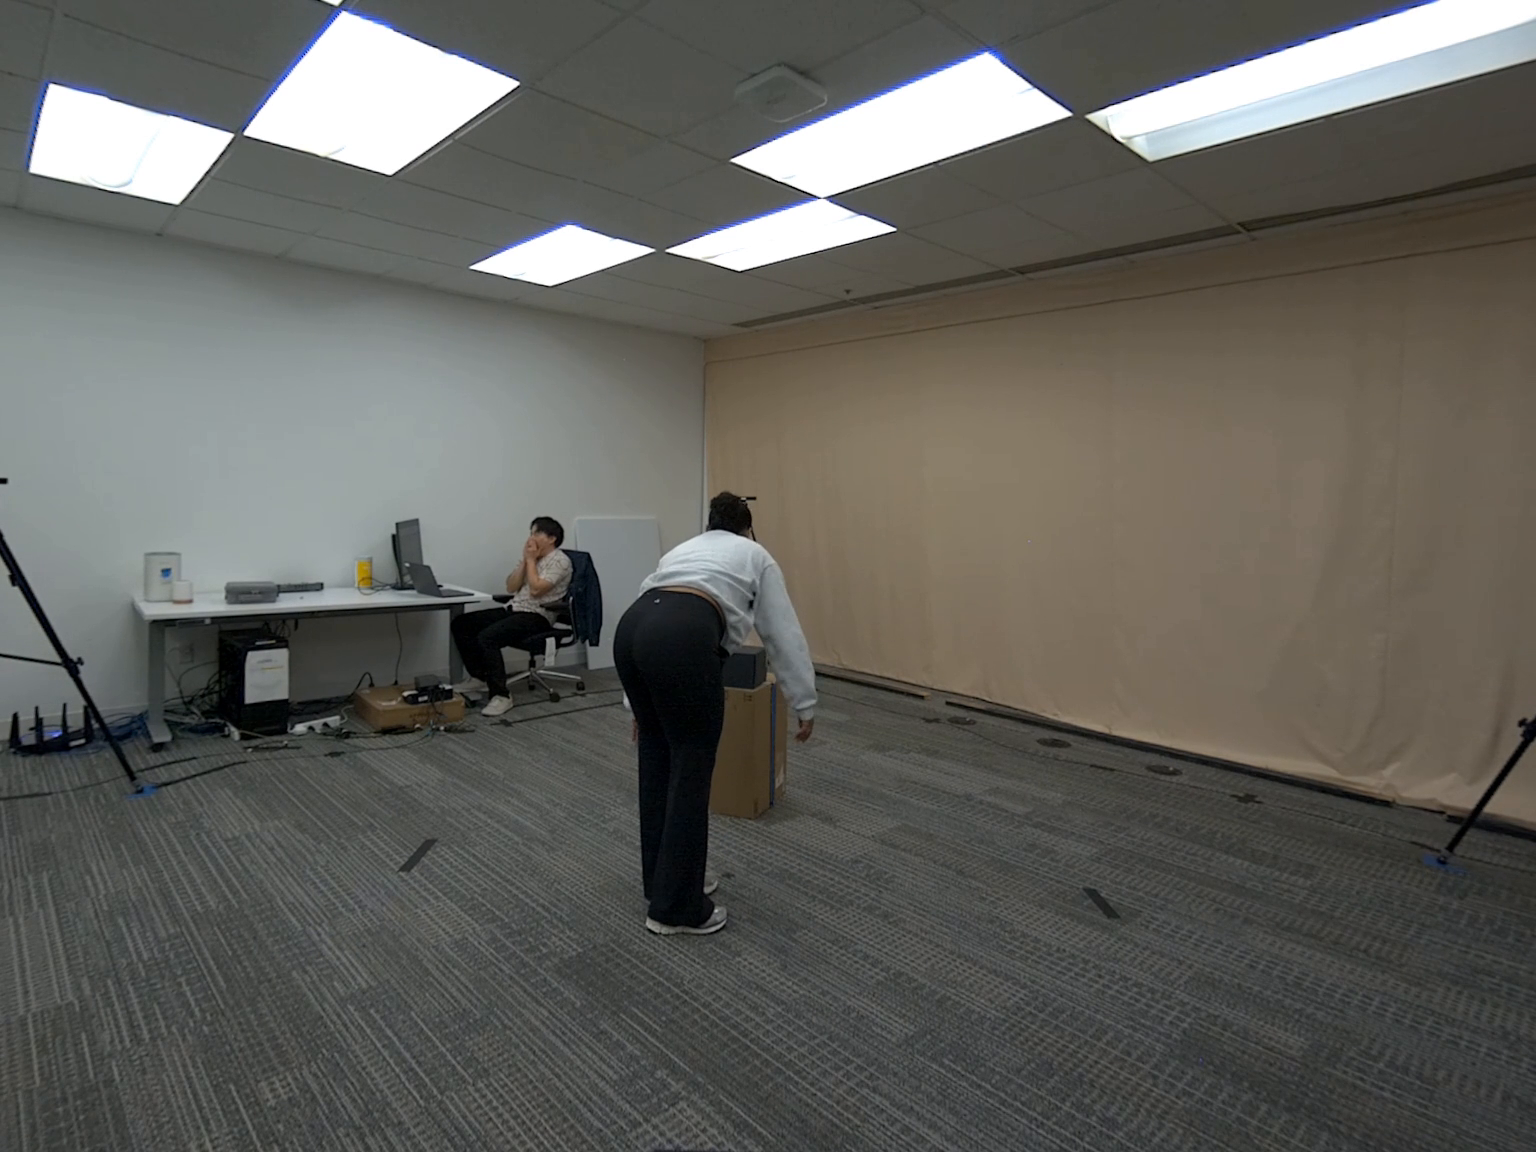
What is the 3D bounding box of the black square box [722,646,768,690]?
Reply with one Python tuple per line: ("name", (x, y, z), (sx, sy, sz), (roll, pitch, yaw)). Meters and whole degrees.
("black square box", (-0.144, 0.398, 3.776), (0.231, 0.155, 0.214), (3, 3, 16))
